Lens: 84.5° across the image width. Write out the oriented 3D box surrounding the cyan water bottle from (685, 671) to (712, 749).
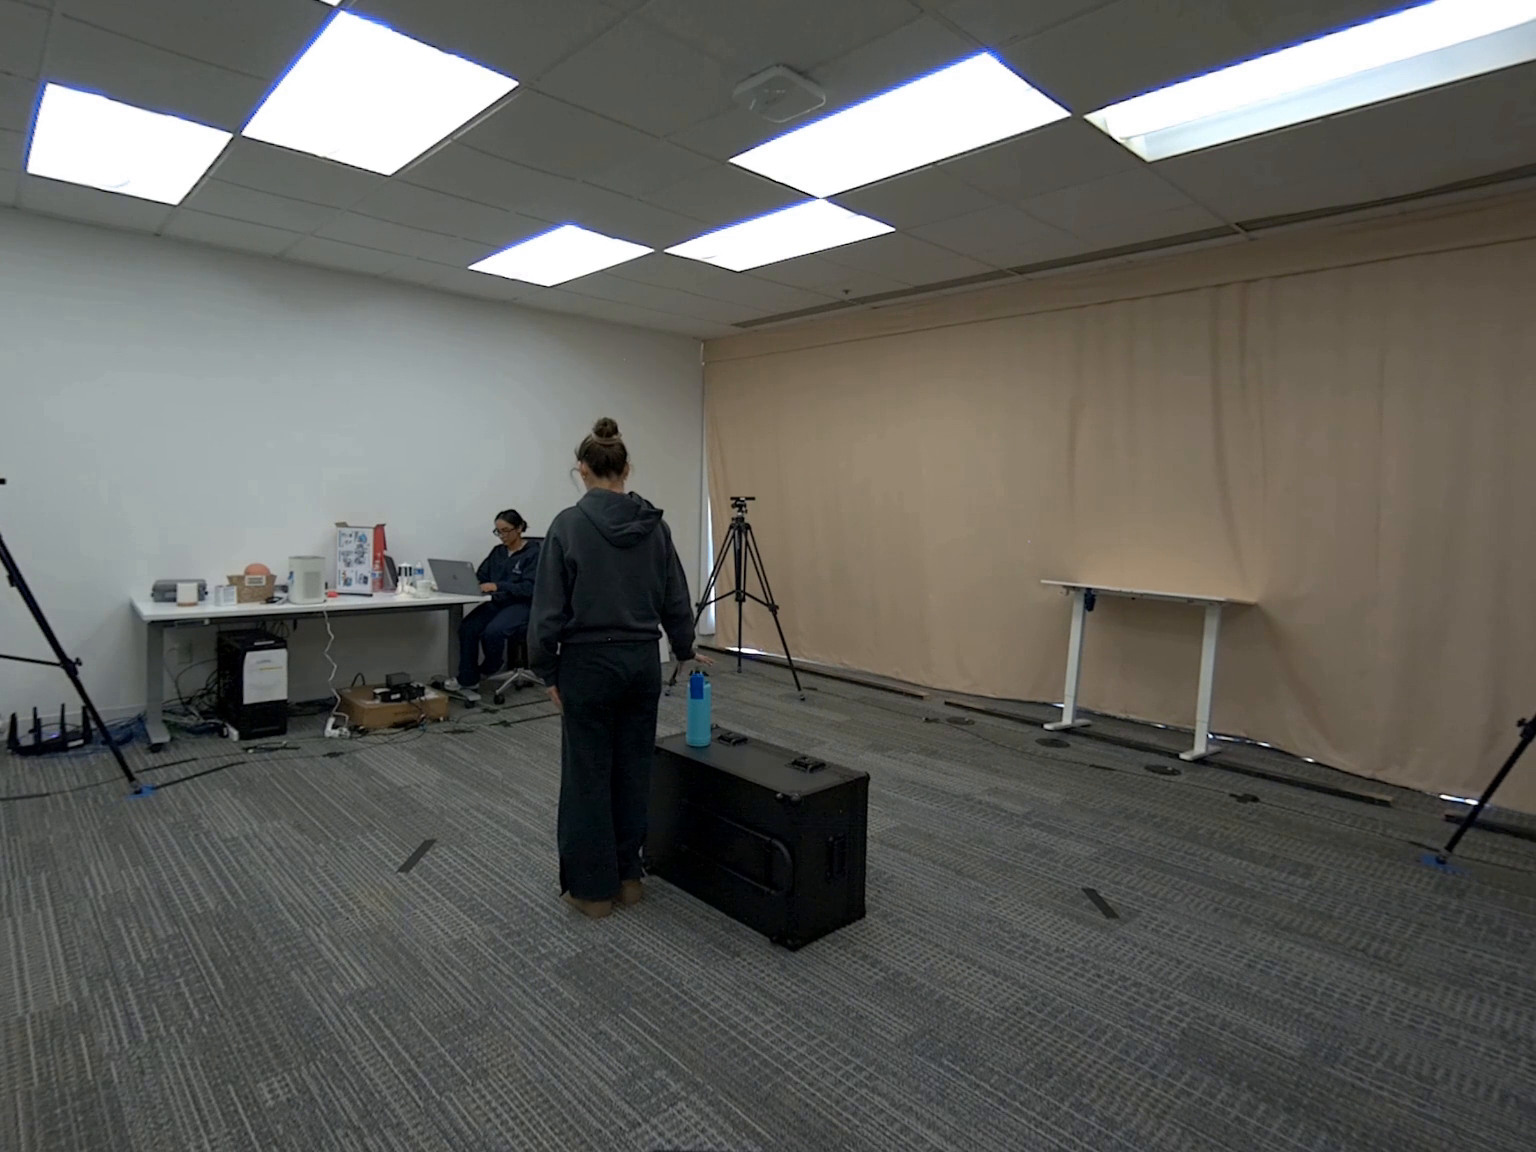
[{"bbox_3d":[-0.264,0.481,3.122,0.092,0.283,0.092,1,2,-1],"label":"cyan water bottle"}]
